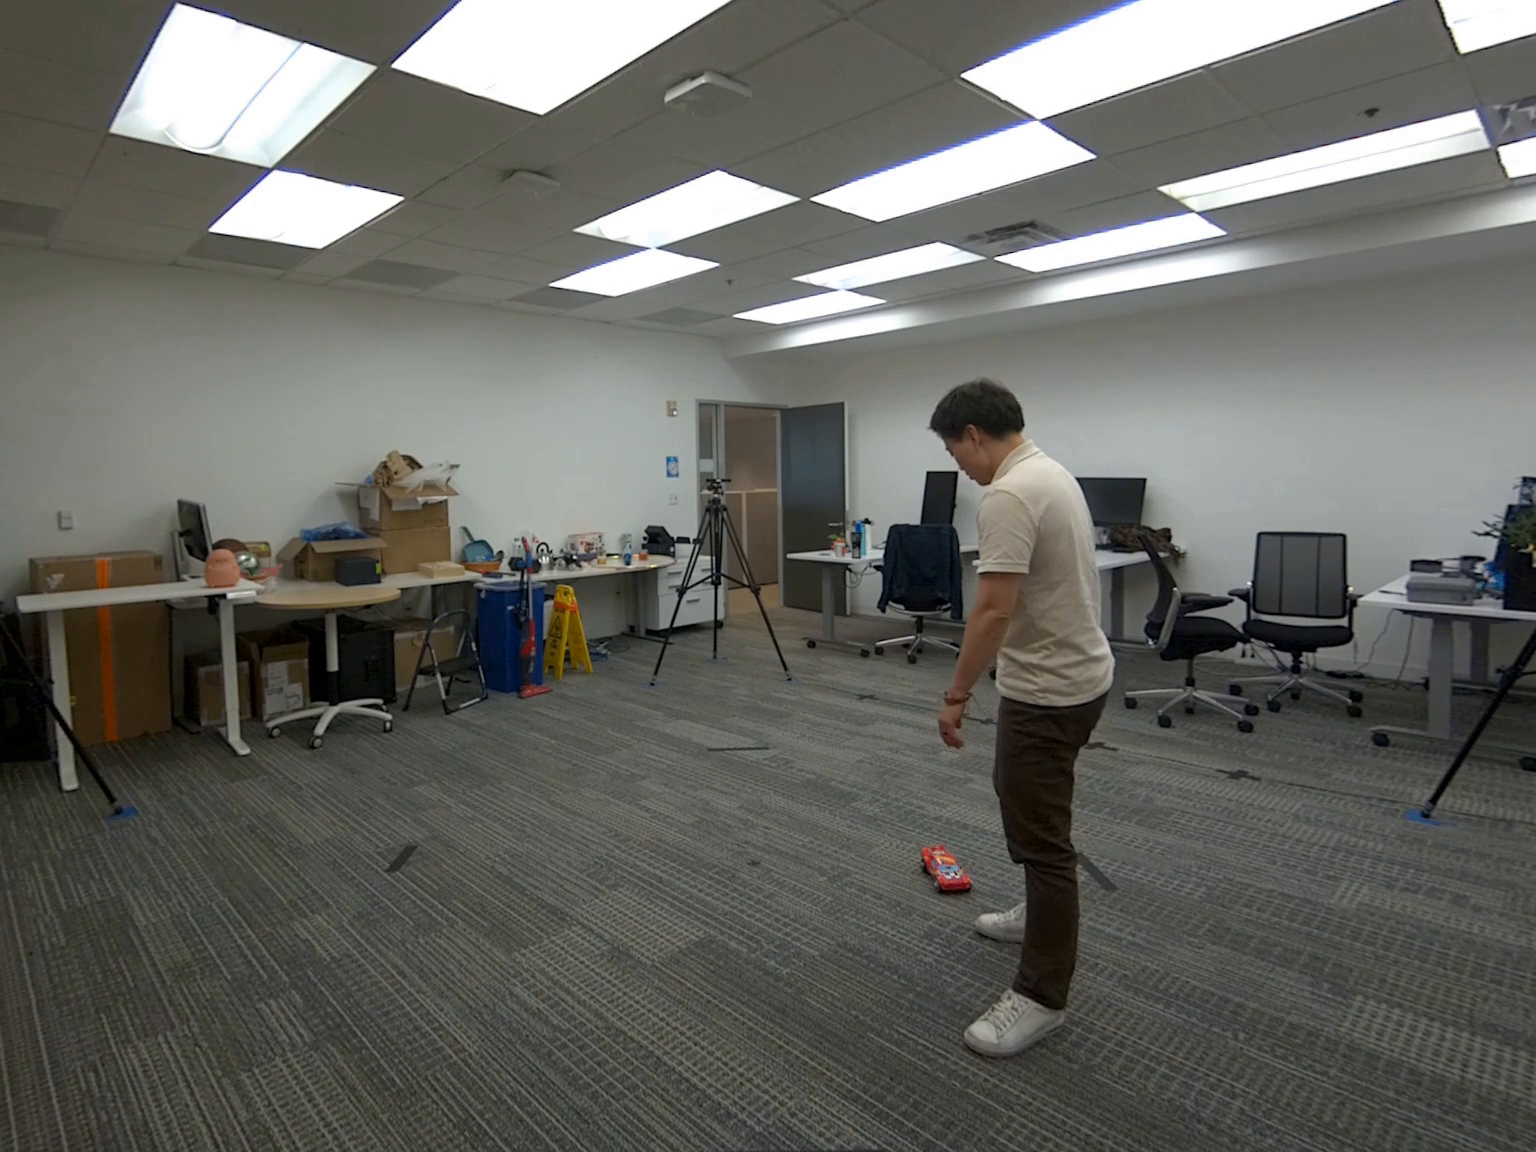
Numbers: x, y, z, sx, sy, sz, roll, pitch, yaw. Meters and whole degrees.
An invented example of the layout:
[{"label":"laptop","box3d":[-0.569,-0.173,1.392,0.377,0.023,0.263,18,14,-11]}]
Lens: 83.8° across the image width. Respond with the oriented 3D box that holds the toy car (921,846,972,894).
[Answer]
[{"label":"toy car","box3d":[0.614,1.017,2.962,0.129,0.082,0.259,-2,17,-6]}]
